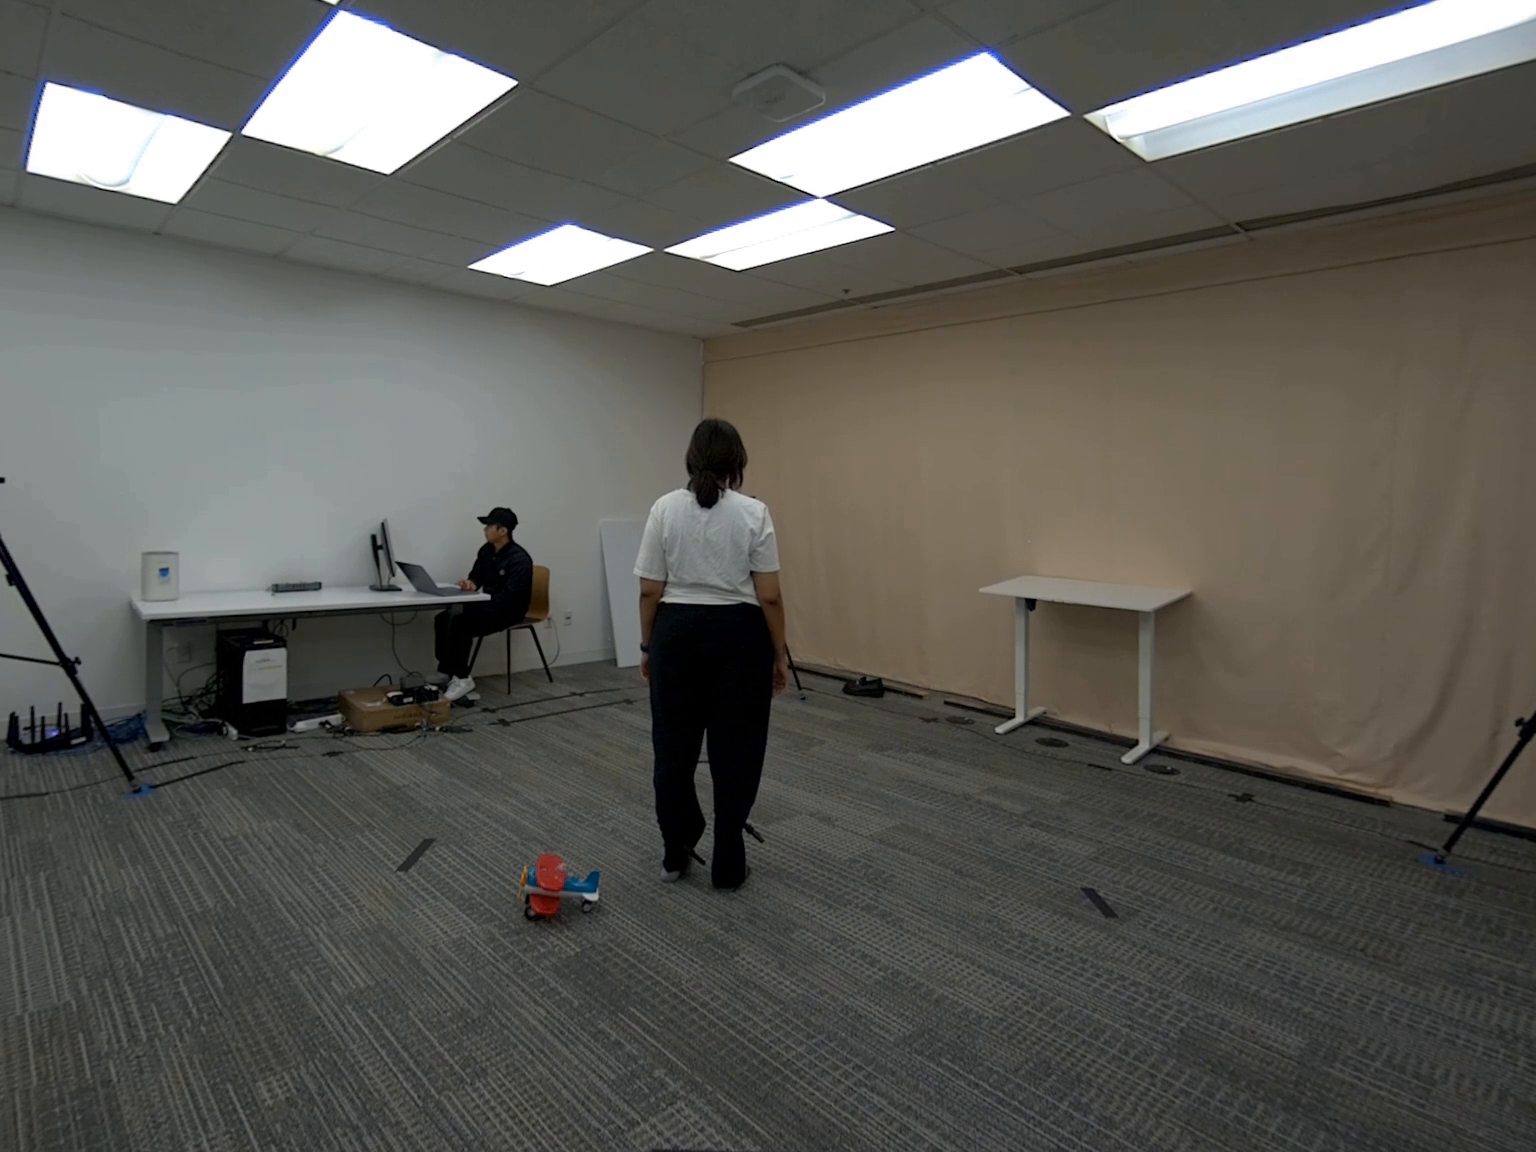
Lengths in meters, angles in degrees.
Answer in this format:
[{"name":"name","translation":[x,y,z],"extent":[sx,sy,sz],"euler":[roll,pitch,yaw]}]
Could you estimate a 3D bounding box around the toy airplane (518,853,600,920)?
[{"name":"toy airplane","translation":[-0.716,1.046,2.817],"extent":[0.253,0.156,0.257],"euler":[-3,6,-41]}]
